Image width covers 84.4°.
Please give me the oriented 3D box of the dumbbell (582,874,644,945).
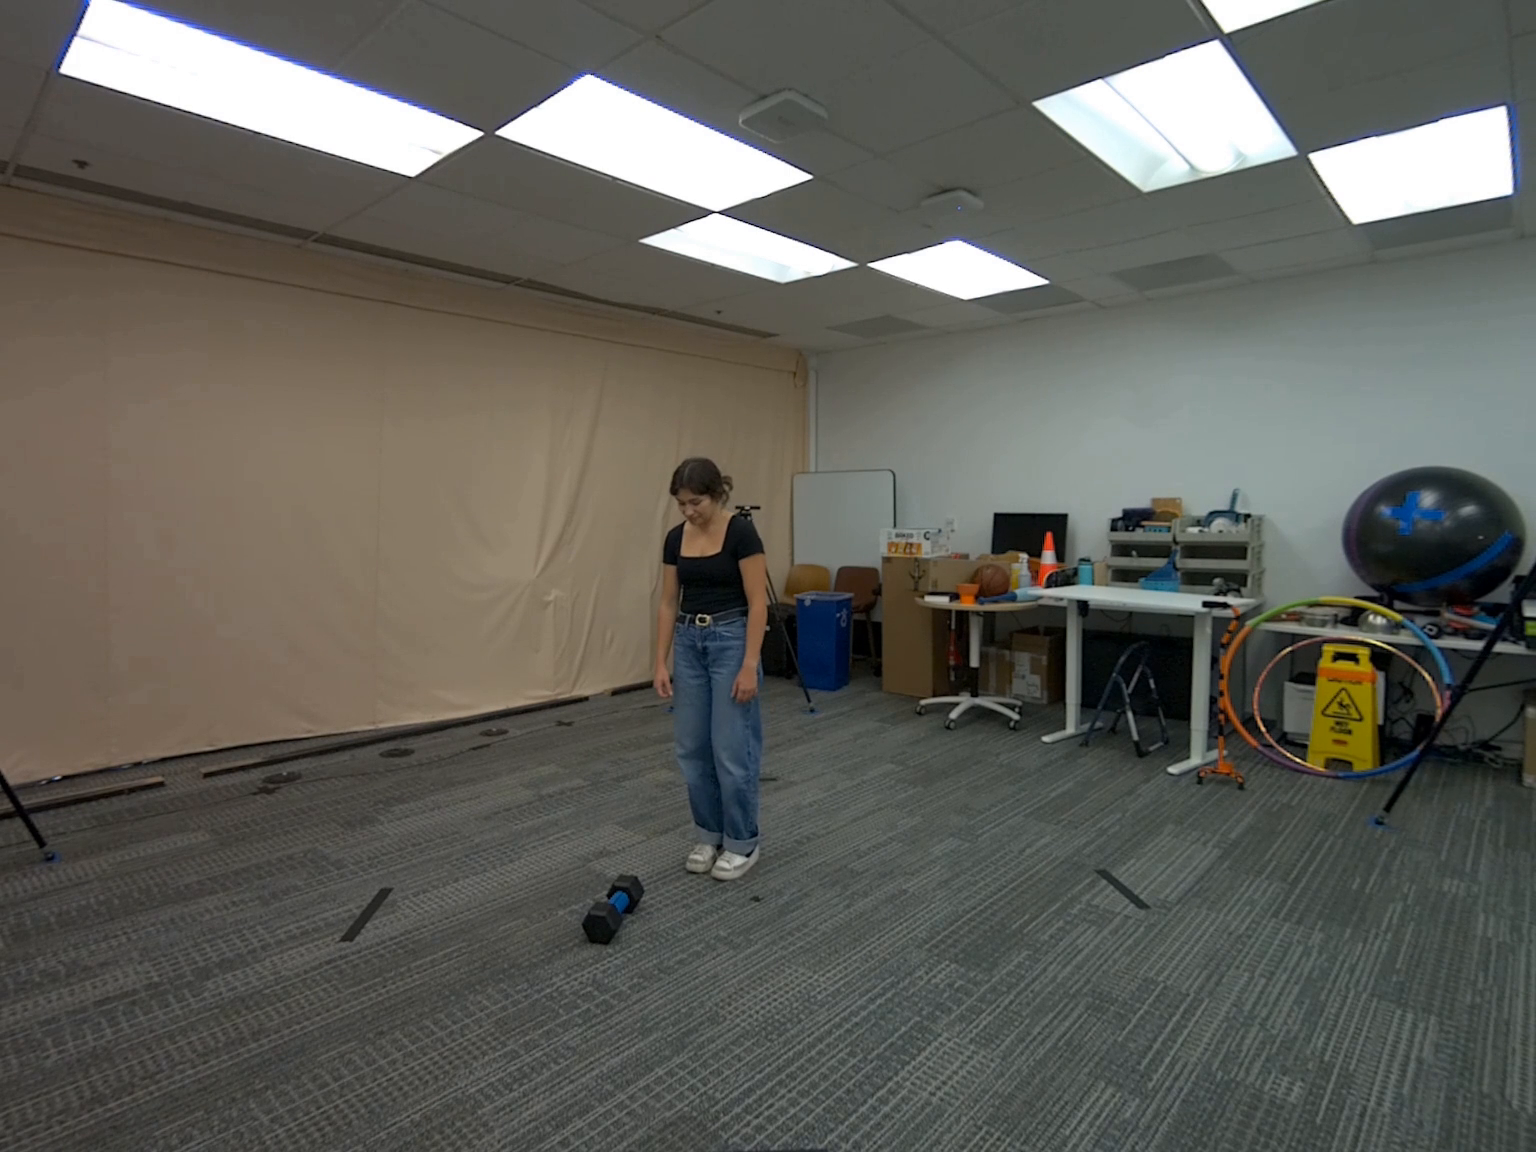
[{"bbox_3d":[-0.513,1.107,2.810,0.109,0.123,0.290,-30,-2,12],"label":"dumbbell"}]
